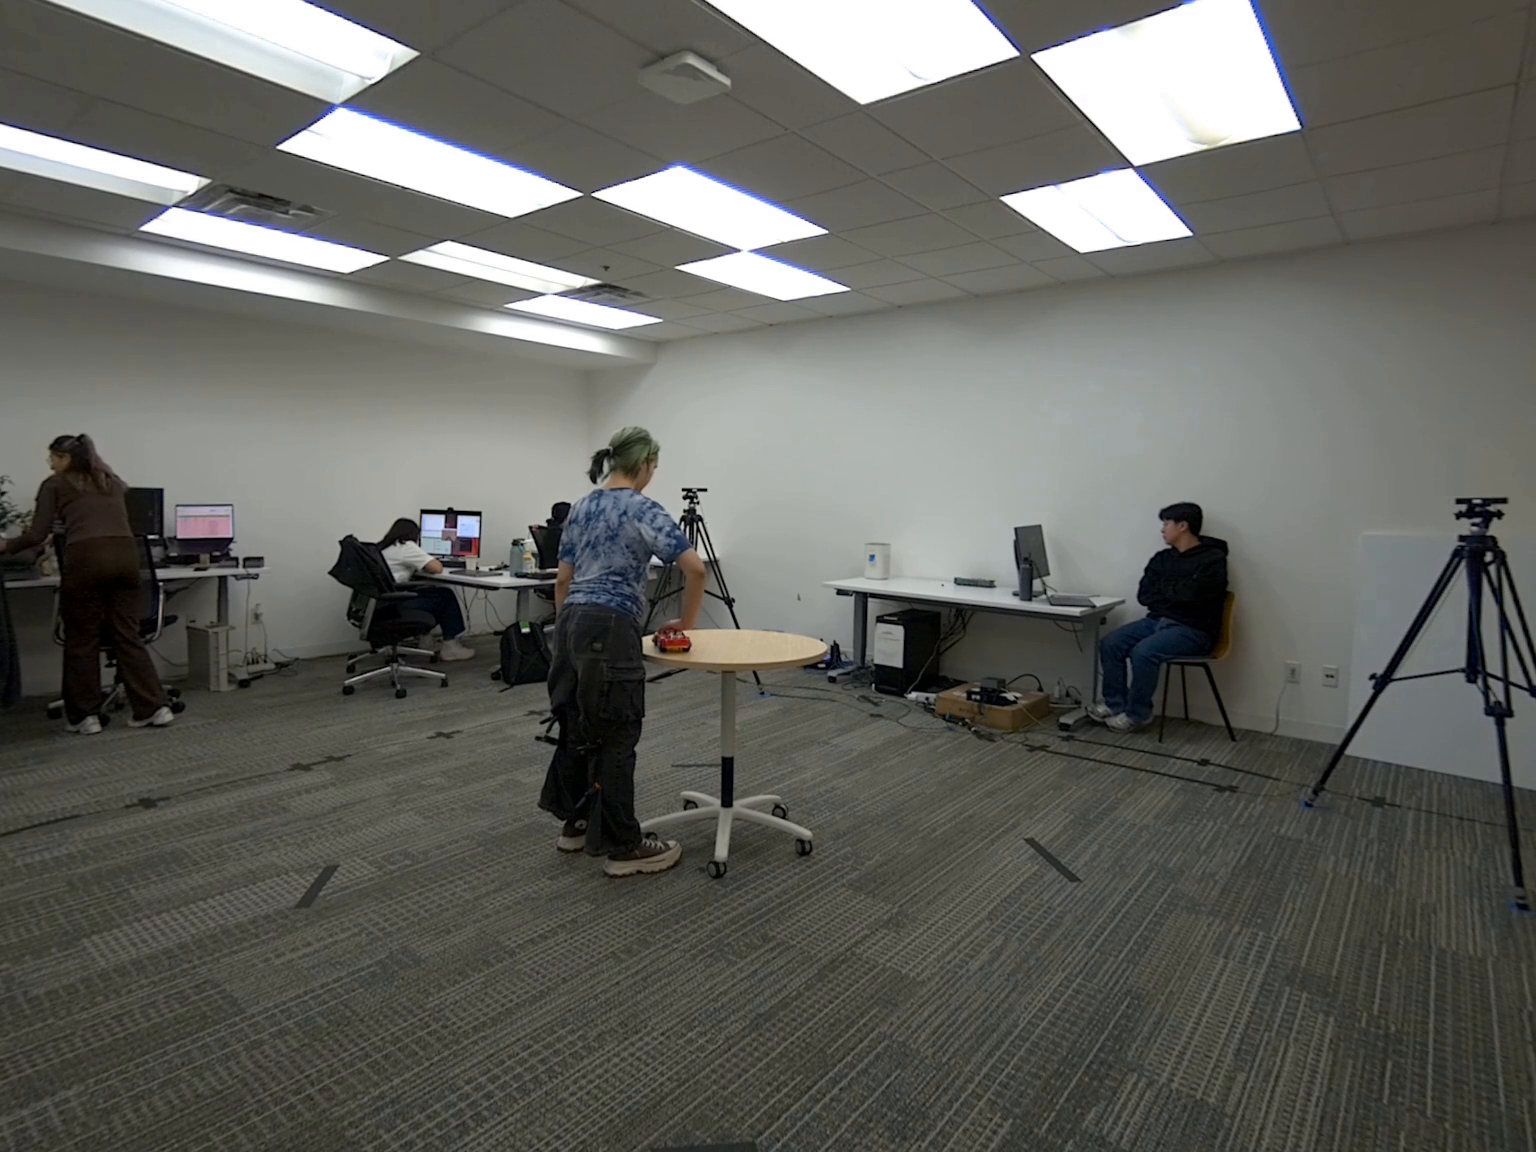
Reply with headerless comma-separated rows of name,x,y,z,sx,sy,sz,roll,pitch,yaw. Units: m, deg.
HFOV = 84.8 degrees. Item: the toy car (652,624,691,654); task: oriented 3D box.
toy car,-0.371,0.245,3.221,0.128,0.084,0.256,-1,-5,-15
